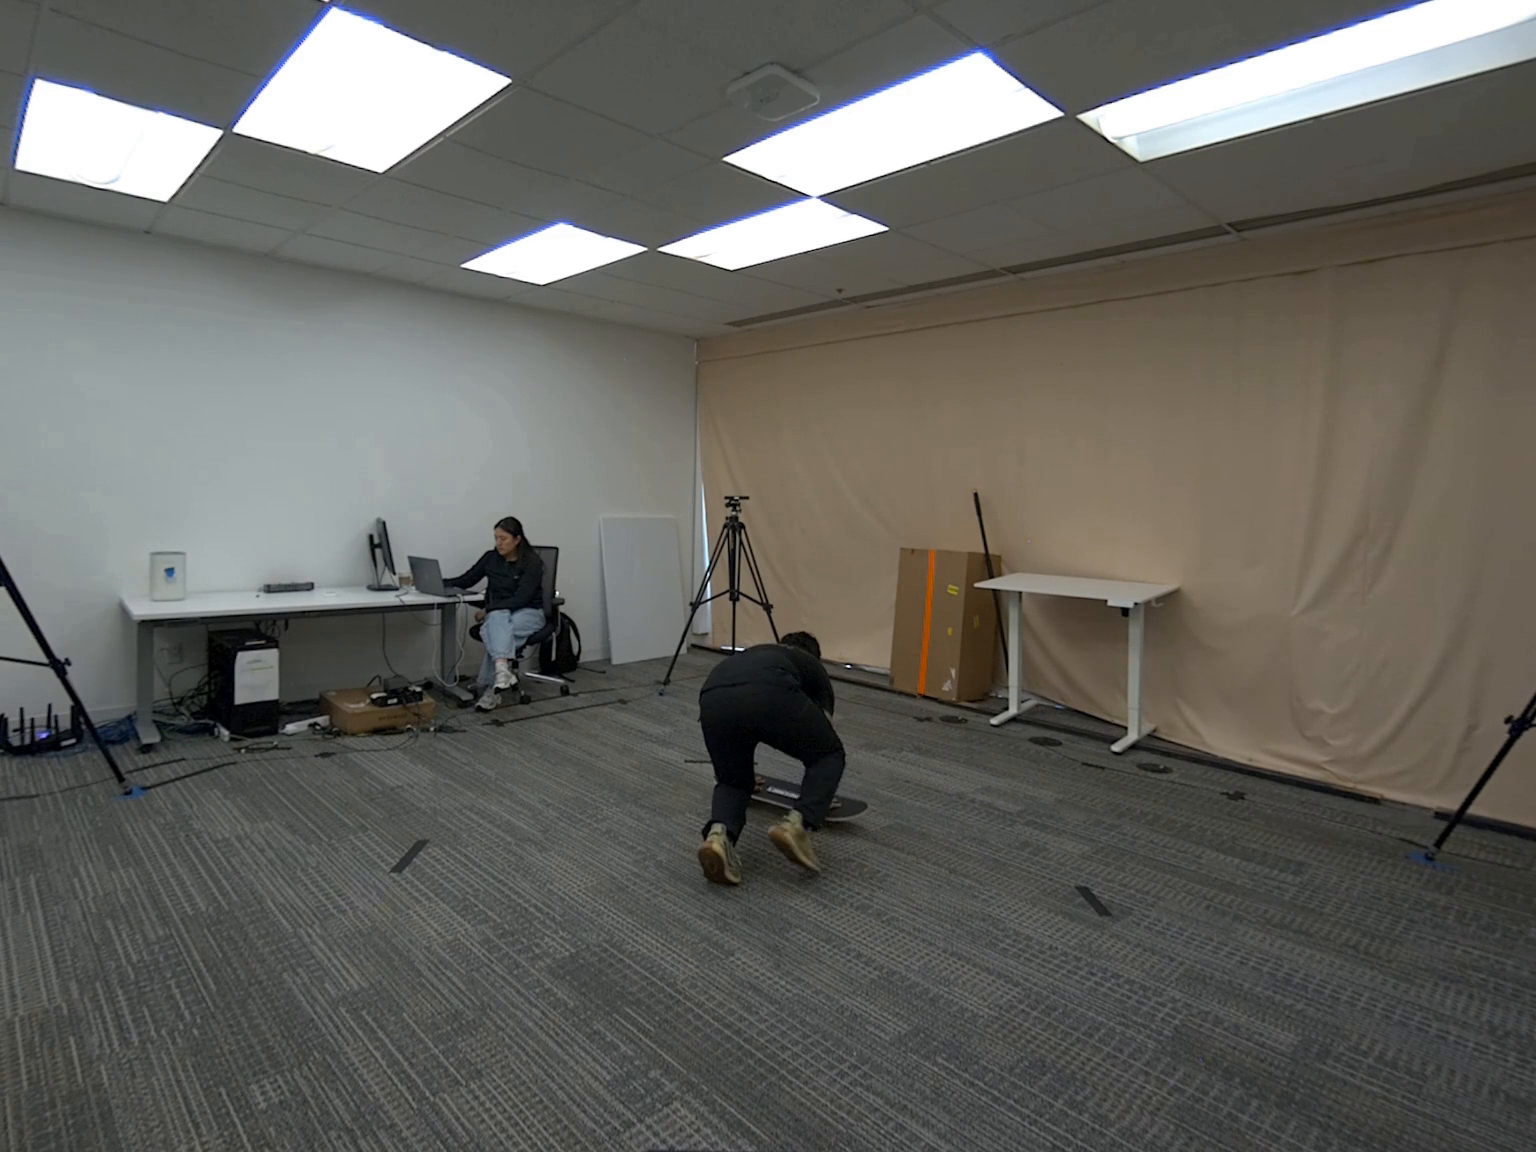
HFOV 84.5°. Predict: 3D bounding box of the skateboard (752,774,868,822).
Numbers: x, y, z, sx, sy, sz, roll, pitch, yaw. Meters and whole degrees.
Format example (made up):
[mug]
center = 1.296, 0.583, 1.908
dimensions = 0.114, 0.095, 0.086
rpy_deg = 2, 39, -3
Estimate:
[skateboard]
center = 0.072, 0.994, 3.751
dimensions = 0.805, 0.109, 0.190
rpy_deg = 5, 14, 37
